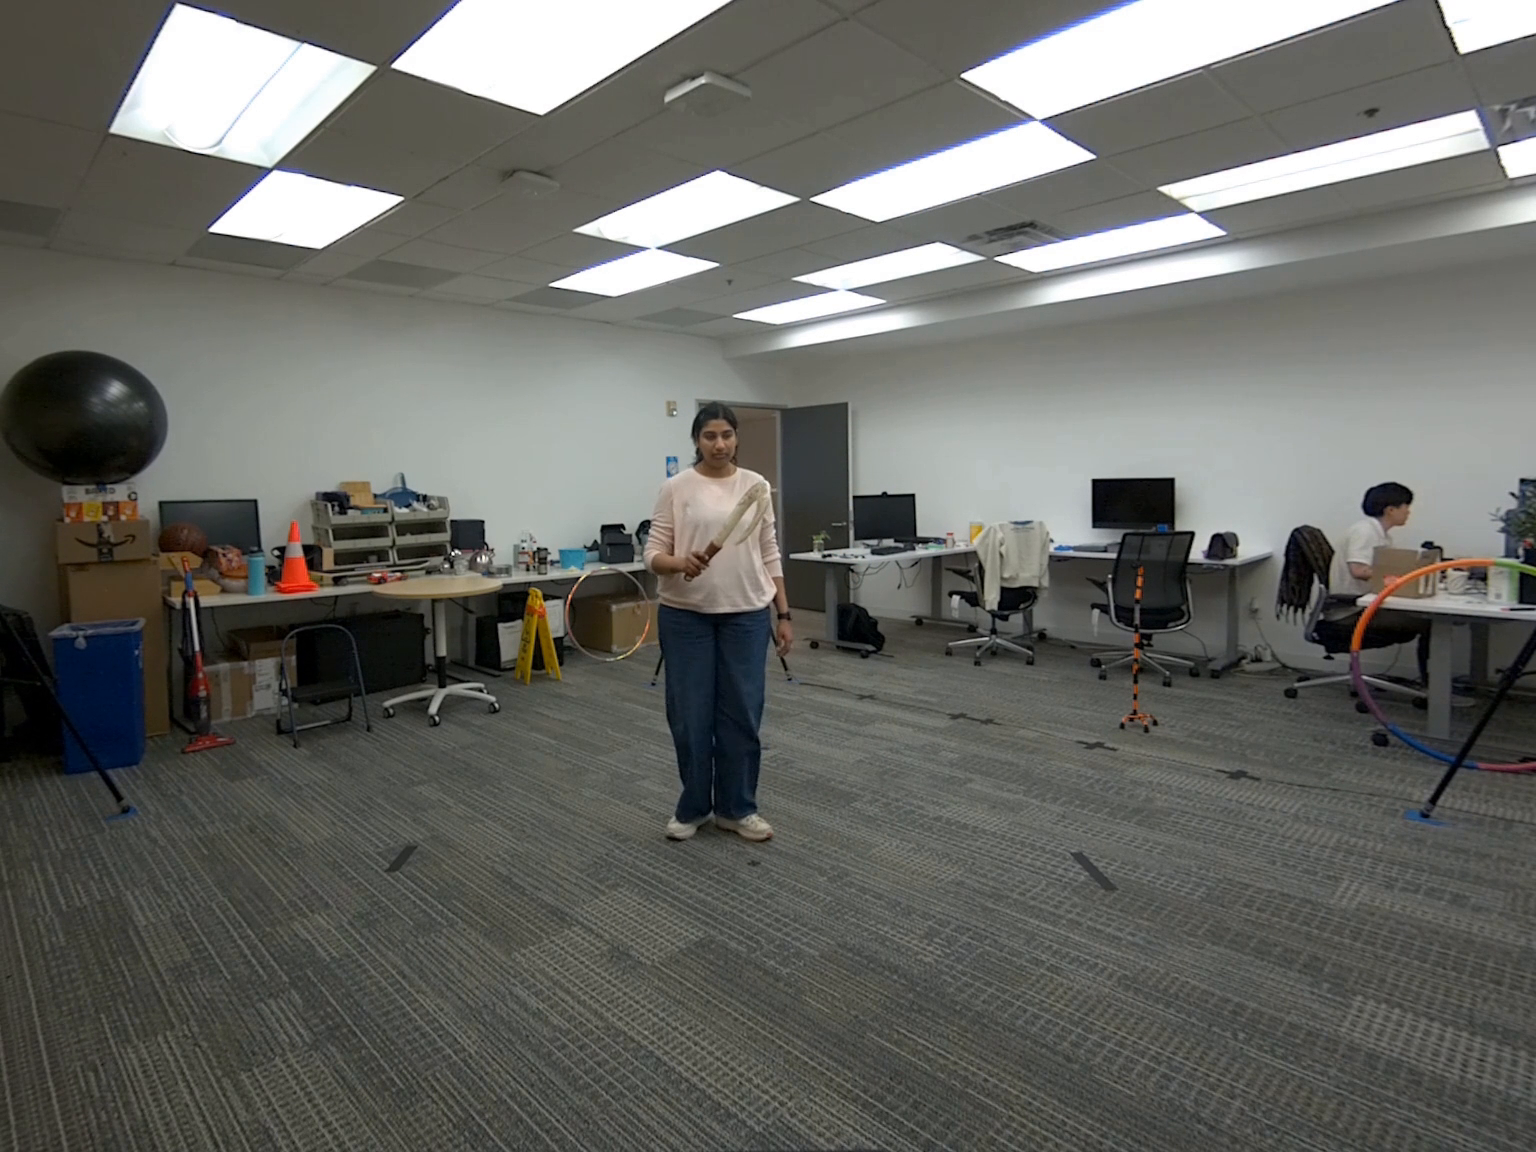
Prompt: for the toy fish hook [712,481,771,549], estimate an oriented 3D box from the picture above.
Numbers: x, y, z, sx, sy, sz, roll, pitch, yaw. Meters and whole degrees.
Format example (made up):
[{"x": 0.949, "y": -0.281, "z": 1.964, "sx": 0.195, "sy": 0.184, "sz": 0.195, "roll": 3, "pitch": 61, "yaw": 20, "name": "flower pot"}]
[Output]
[{"x": -0.138, "y": -0.117, "z": 2.912, "sx": 0.047, "sy": 0.504, "sz": 0.230, "roll": 26, "pitch": 32, "yaw": -19, "name": "toy fish hook"}]
